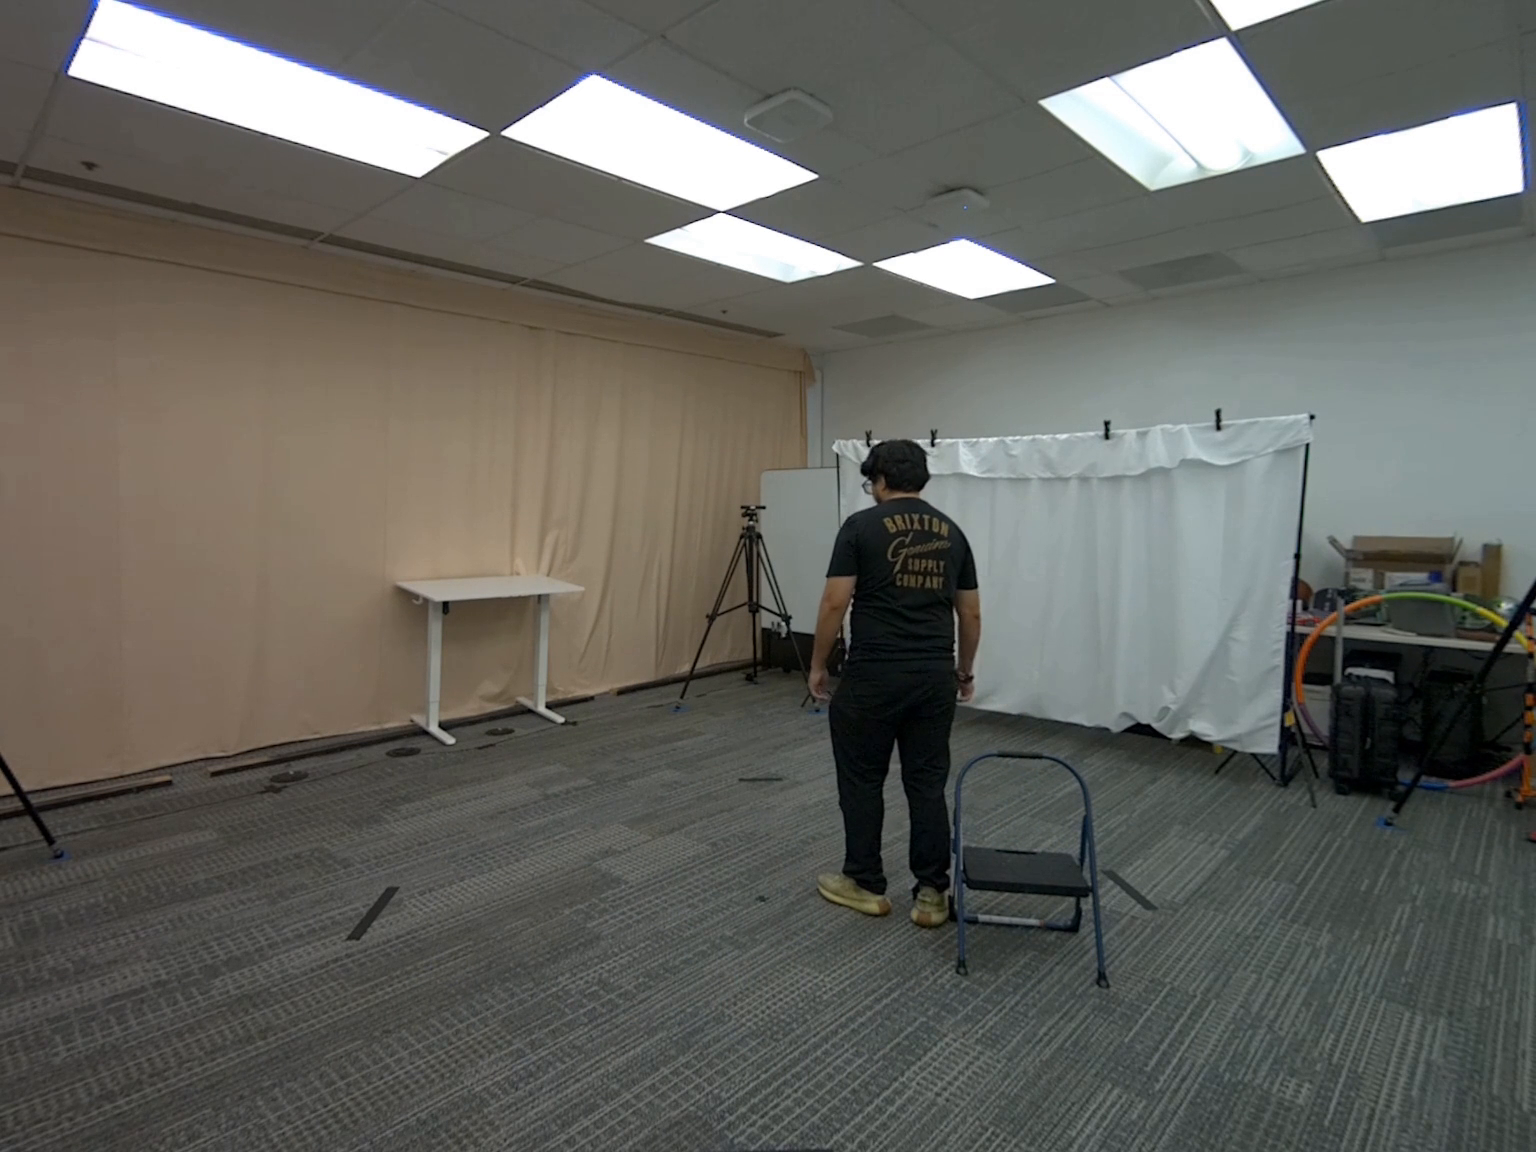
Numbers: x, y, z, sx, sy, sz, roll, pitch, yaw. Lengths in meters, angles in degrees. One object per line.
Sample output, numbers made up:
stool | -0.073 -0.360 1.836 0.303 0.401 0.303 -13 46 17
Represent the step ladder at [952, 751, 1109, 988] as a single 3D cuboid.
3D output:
step ladder | 0.807 0.871 2.614 0.435 0.605 0.346 1 3 9
